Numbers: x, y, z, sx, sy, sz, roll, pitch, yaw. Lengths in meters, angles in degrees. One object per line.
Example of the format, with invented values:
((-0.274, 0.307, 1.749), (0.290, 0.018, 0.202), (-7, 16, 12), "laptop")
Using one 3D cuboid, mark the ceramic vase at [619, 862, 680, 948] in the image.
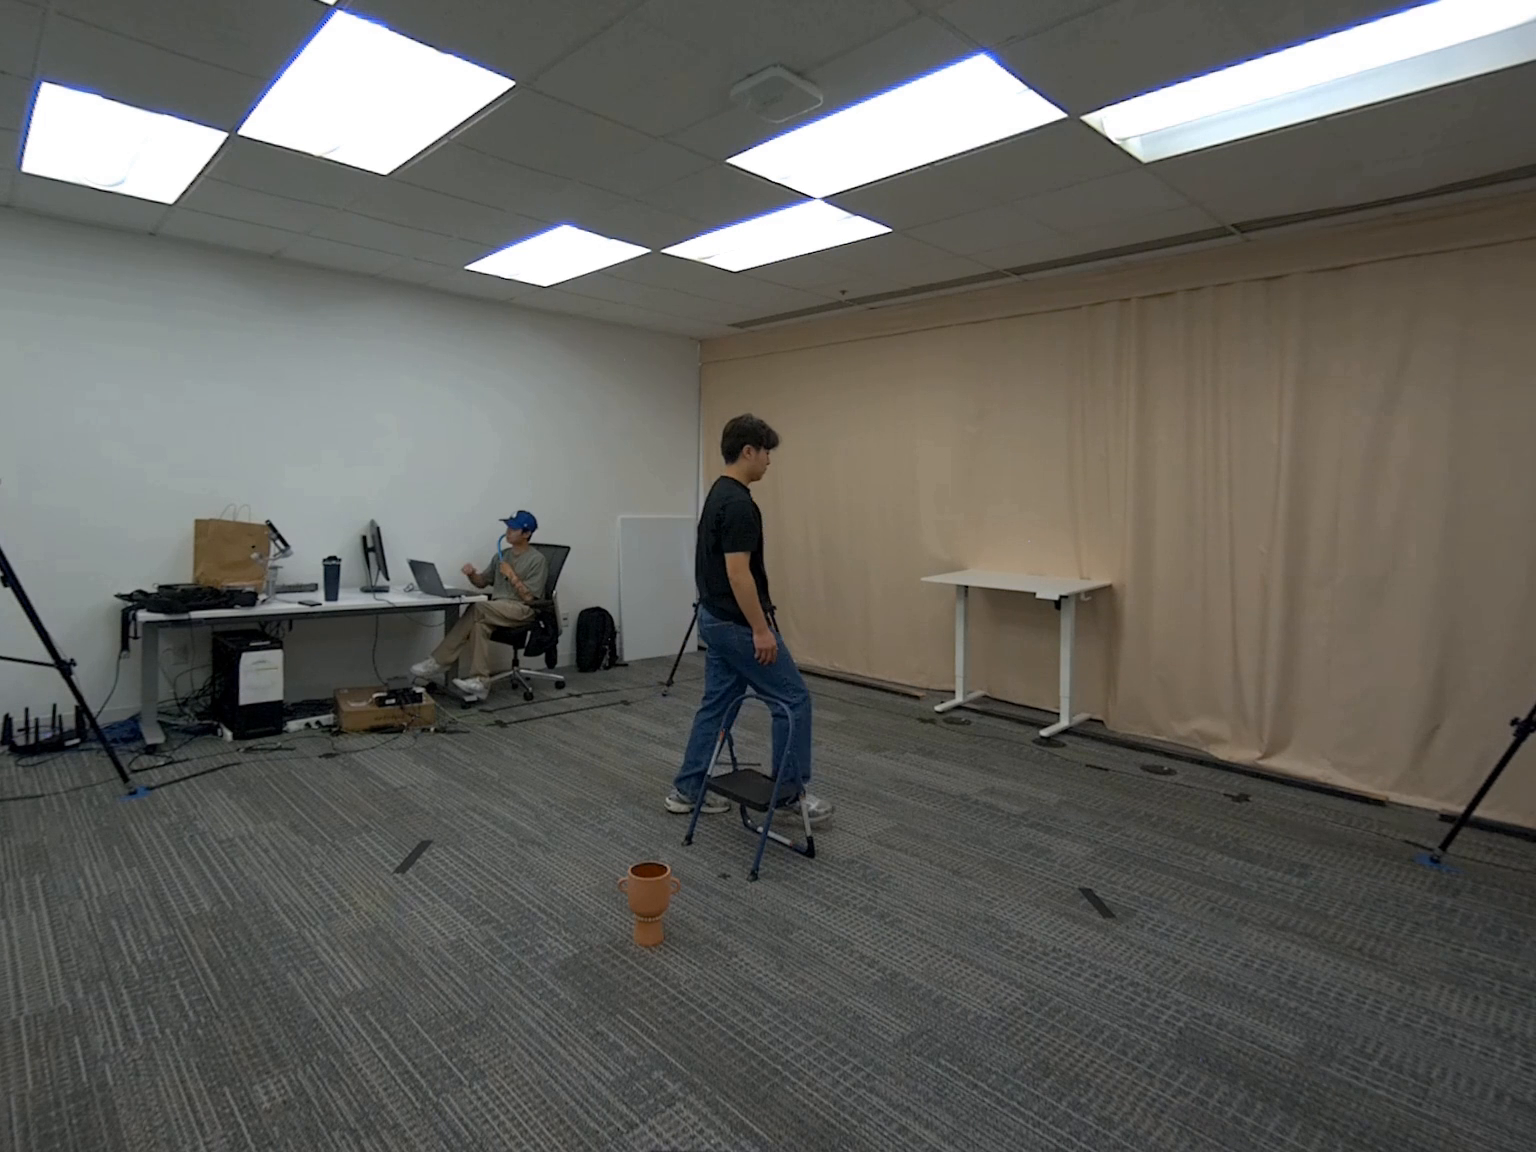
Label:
((-0.385, 1.033, 2.644), (0.163, 0.219, 0.132), (4, 4, 36), "ceramic vase")
